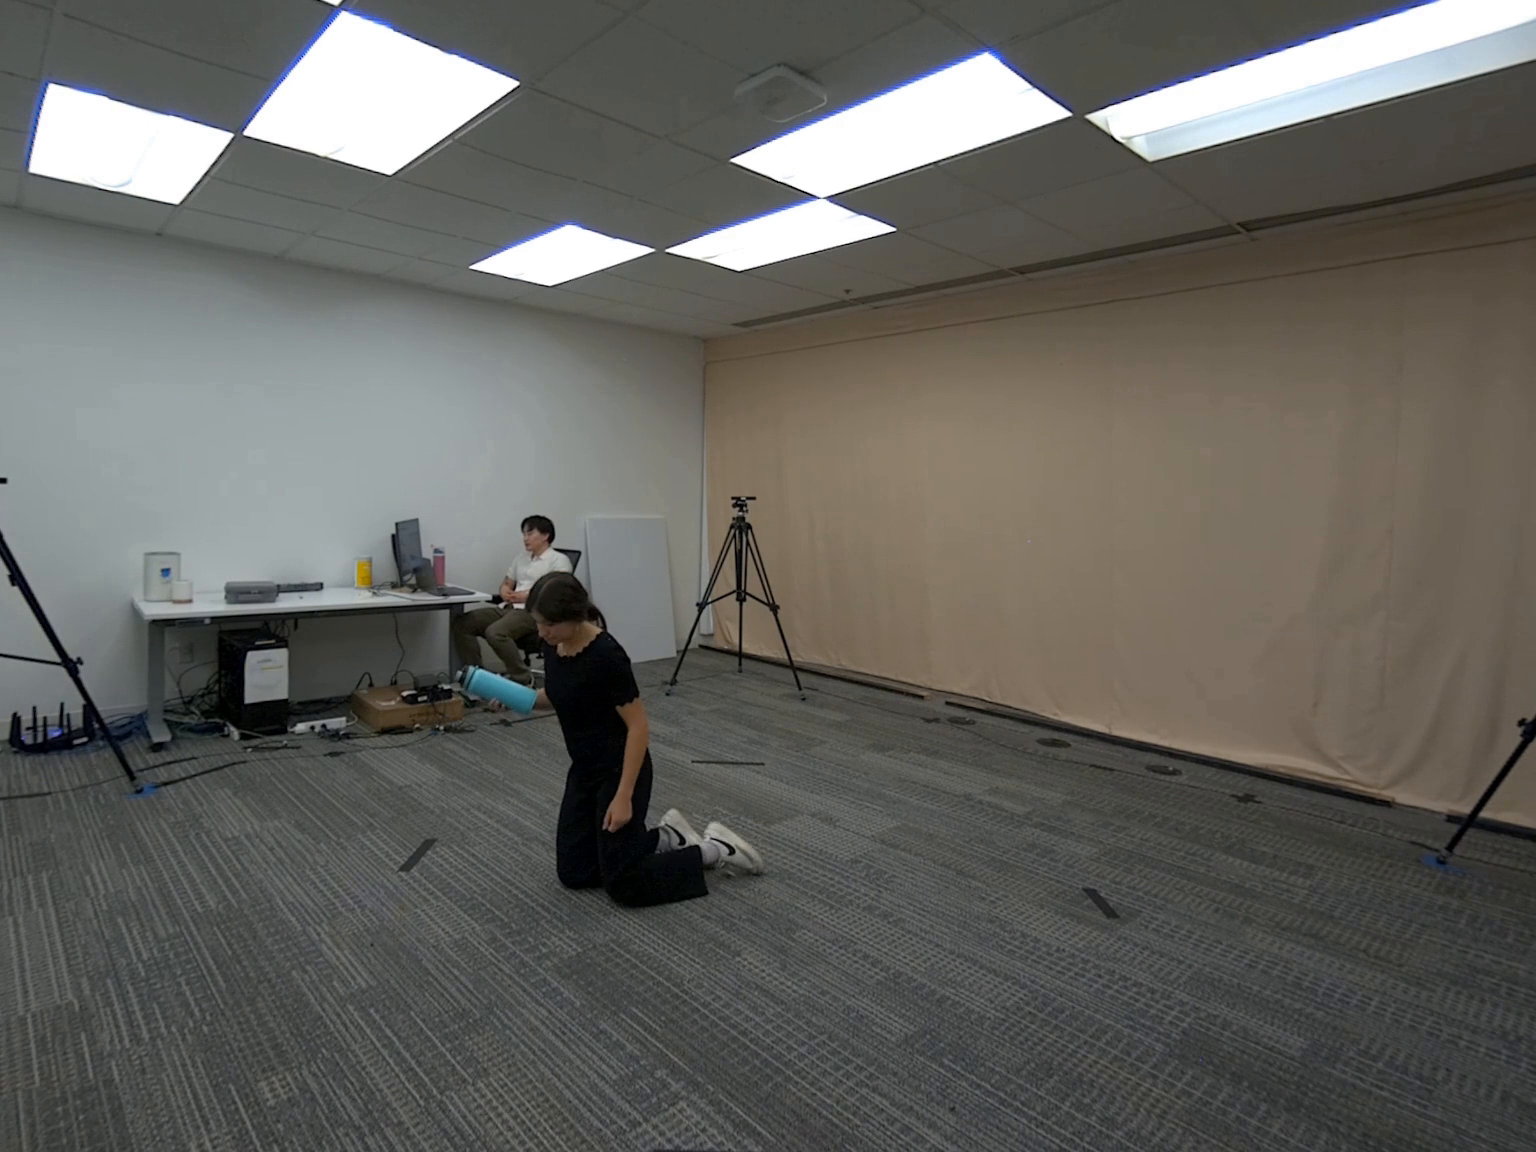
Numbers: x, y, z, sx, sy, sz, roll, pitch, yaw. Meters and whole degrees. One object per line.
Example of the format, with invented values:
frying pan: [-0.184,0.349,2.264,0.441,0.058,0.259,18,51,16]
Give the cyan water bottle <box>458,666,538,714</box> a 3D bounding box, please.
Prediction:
cyan water bottle: [-0.951,0.392,2.949,0.281,0.092,0.093,23,0,-9]
